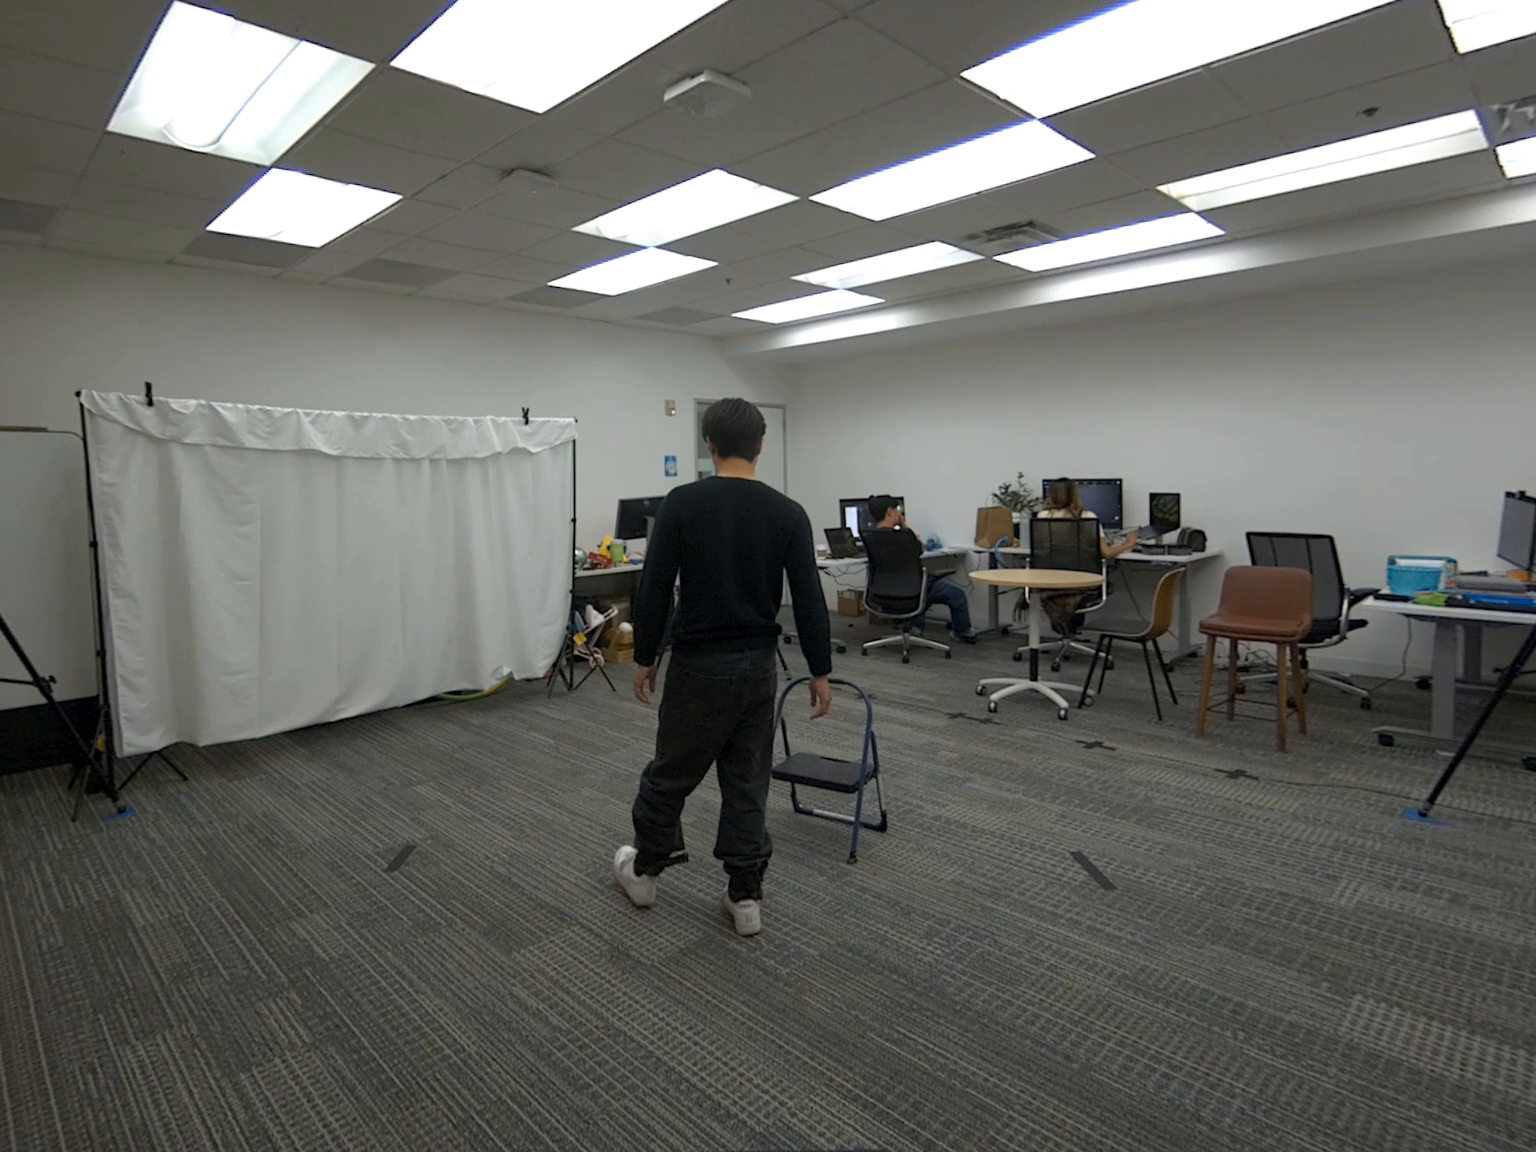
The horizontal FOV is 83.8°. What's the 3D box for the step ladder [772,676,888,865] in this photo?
[{"bbox_3d":[0.210,0.709,3.321,0.442,0.604,0.341,2,5,32],"label":"step ladder"}]
